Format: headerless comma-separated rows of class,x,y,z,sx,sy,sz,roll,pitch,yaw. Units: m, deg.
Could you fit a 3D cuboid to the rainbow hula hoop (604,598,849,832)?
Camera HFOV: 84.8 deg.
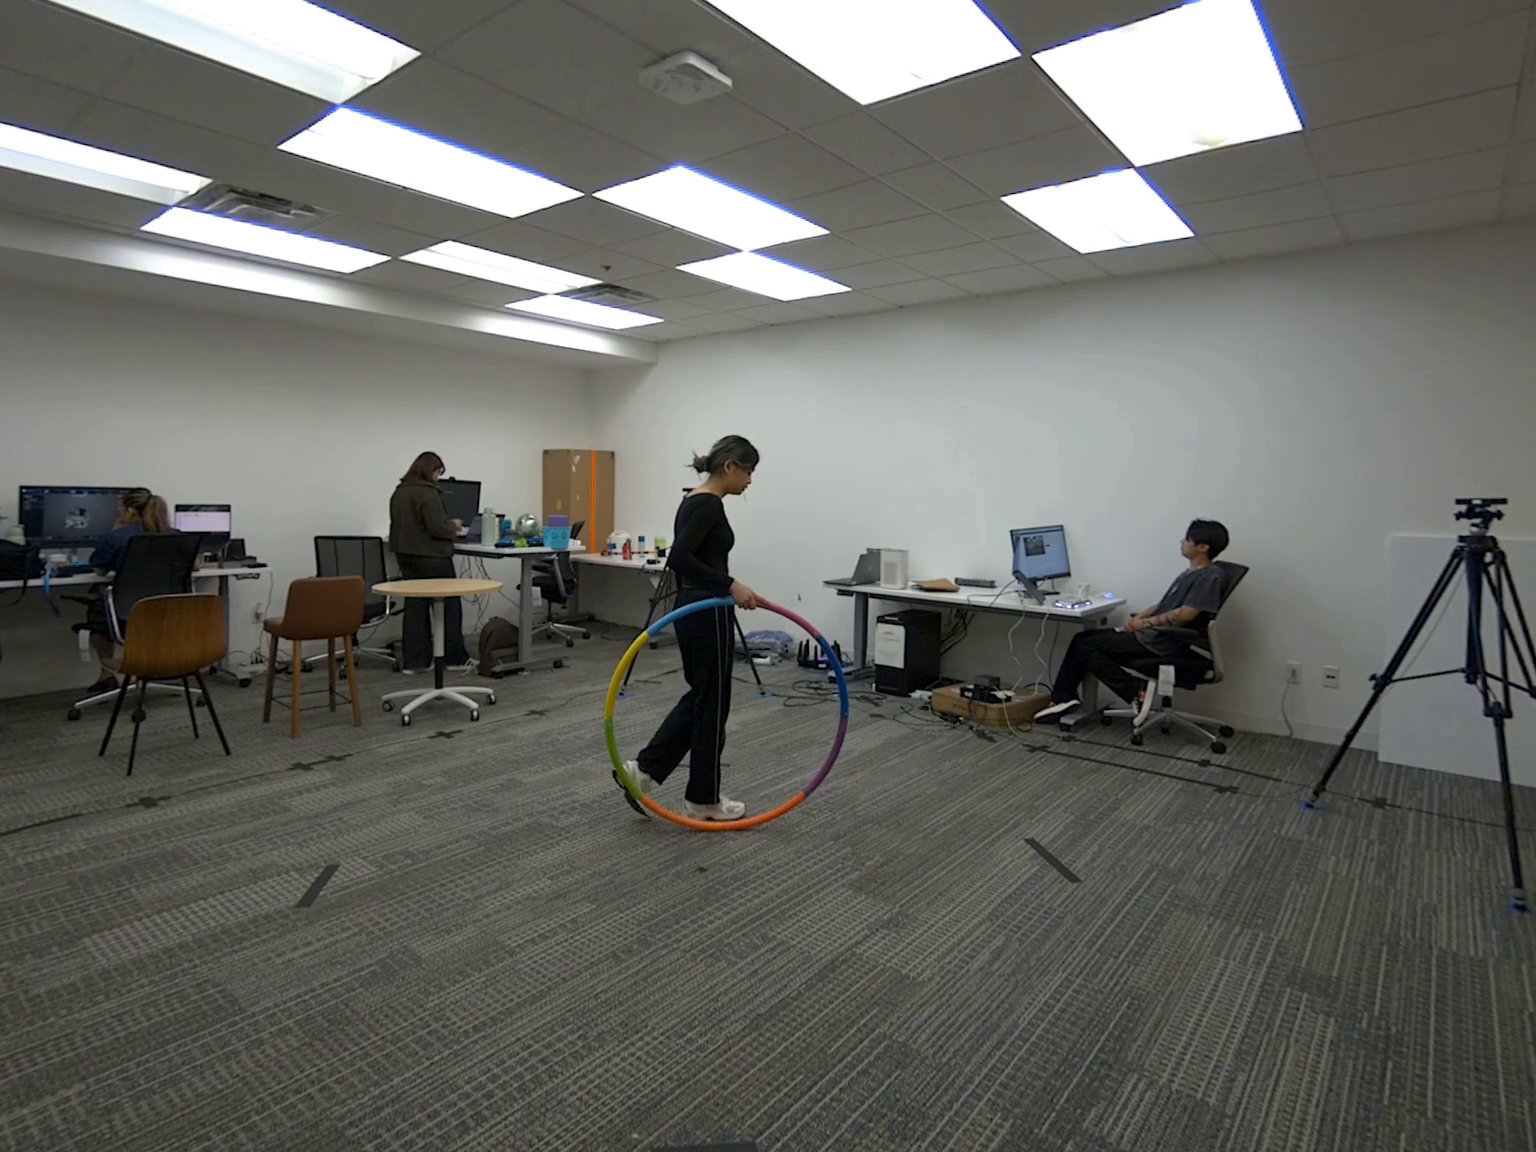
rainbow hula hoop,-0.166,0.557,3.384,0.970,0.967,0.036,0,13,-8
